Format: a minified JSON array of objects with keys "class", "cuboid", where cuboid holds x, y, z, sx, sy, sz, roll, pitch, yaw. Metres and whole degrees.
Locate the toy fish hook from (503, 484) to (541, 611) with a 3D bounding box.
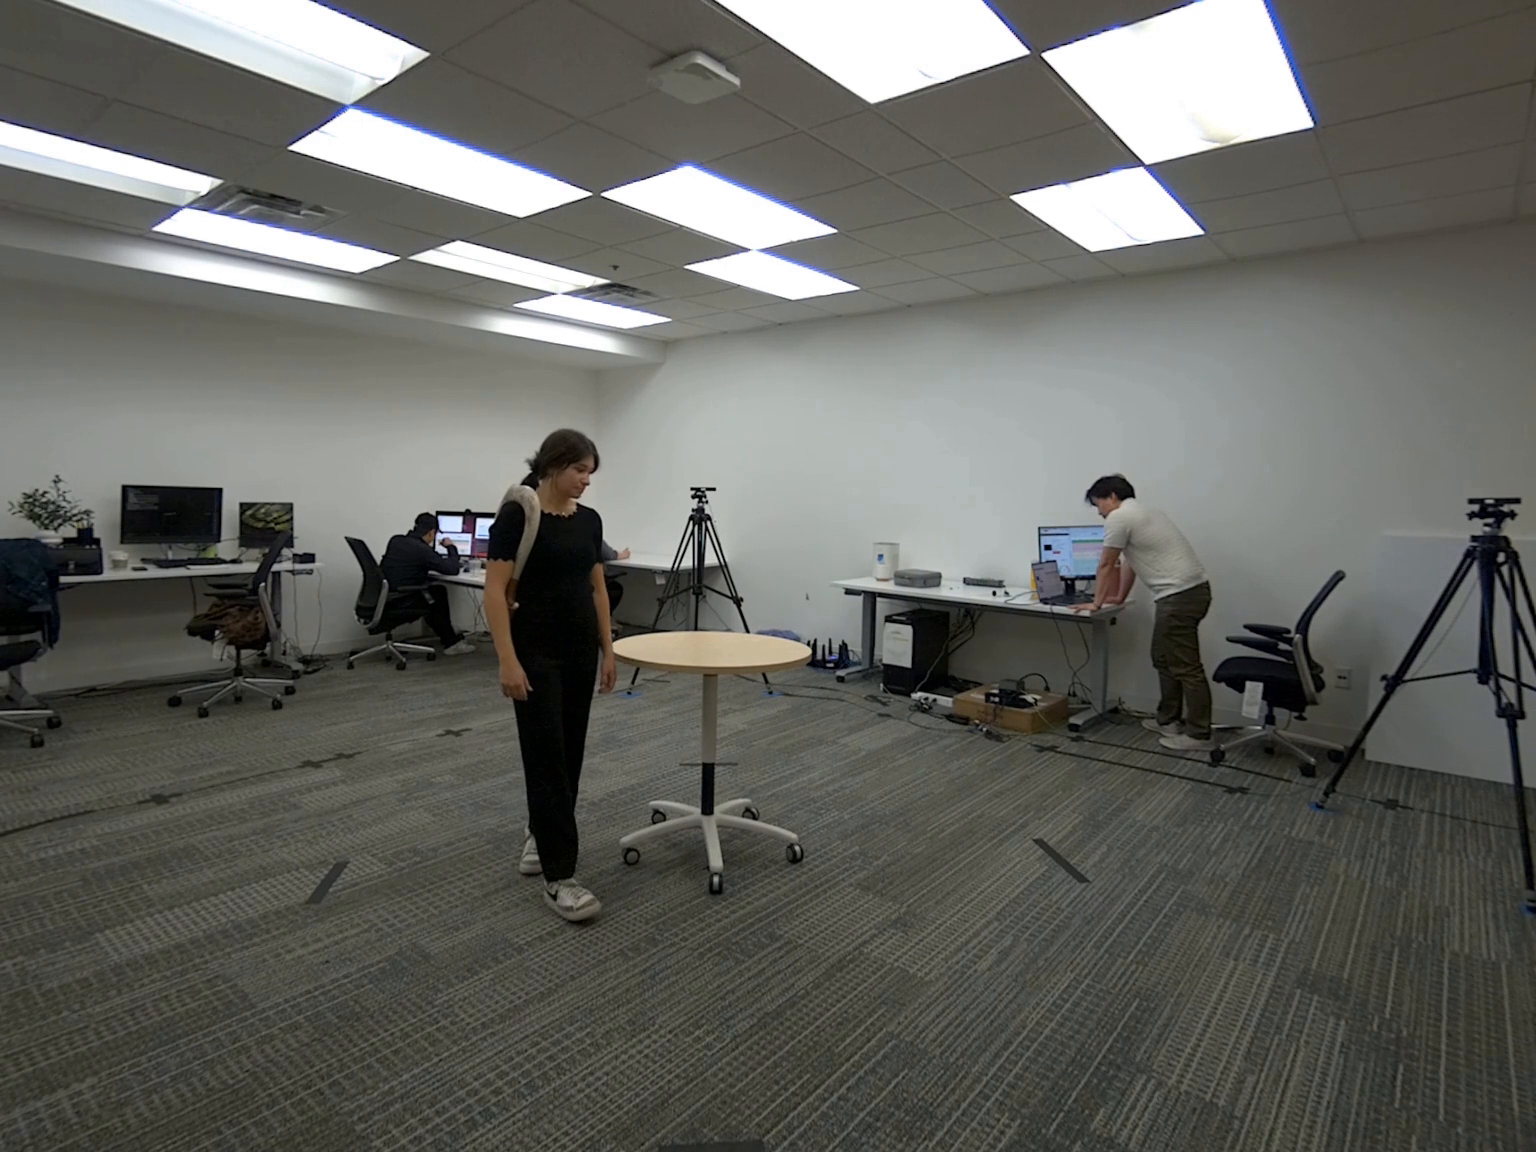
[{"class":"toy fish hook","cuboid":[-0.889,-0.066,2.869,0.233,0.506,0.046,14,3,43]}]
